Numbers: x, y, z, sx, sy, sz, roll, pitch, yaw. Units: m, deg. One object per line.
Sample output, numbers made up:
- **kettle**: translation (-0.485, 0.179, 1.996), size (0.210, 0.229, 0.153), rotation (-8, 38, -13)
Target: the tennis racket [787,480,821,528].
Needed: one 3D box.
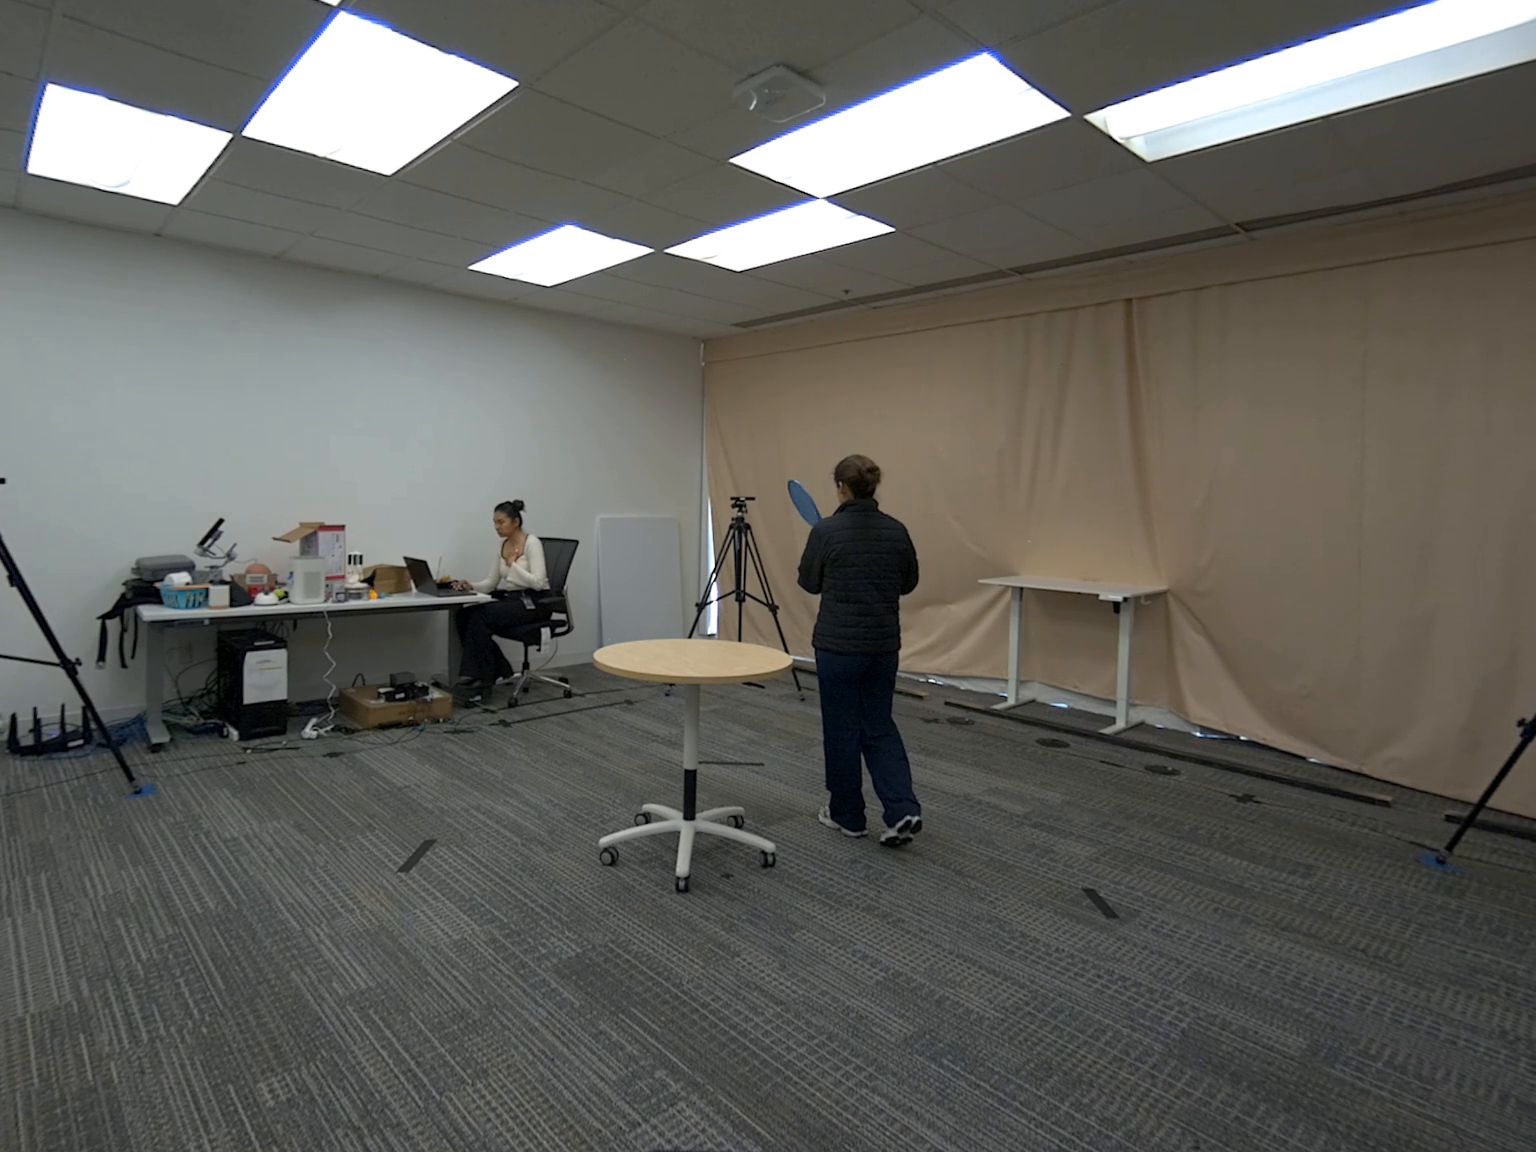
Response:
- **tennis racket**: translation (0.198, -0.268, 3.774), size (0.031, 0.208, 0.446), rotation (-25, 53, -16)
